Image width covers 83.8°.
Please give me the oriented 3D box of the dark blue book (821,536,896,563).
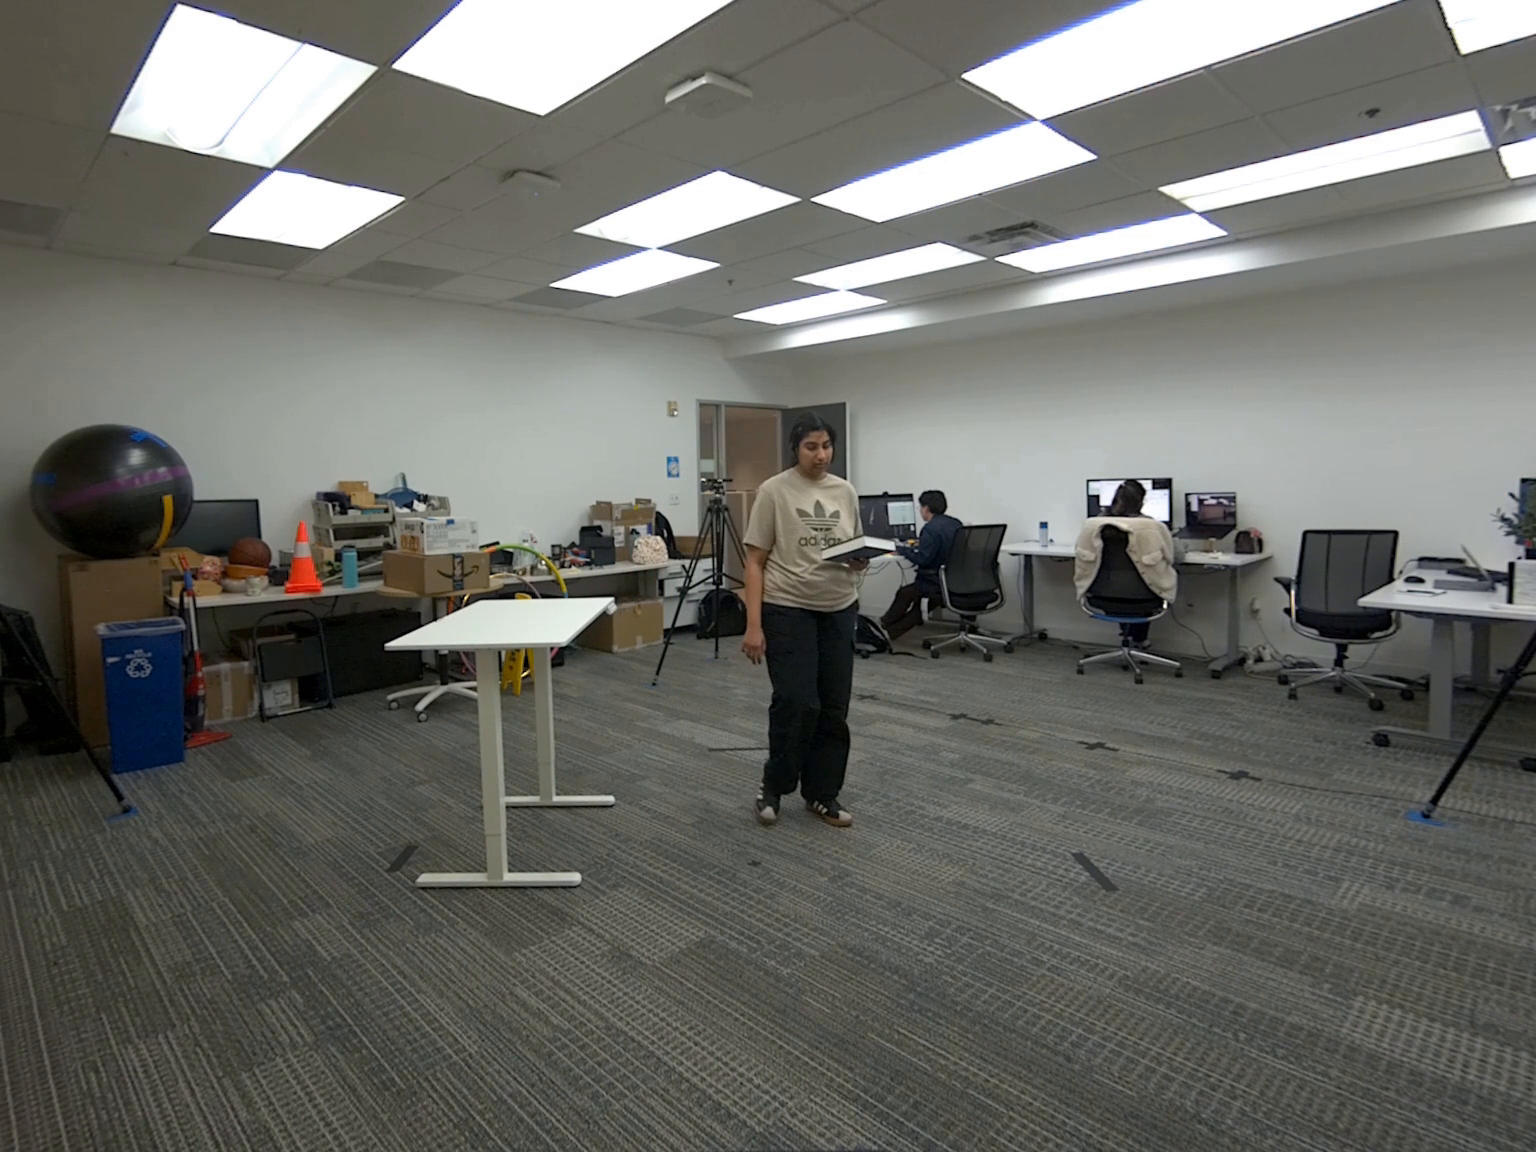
[{"bbox_3d":[0.341,-0.095,3.237,0.158,0.046,0.249,6,-16,-37],"label":"dark blue book"}]
